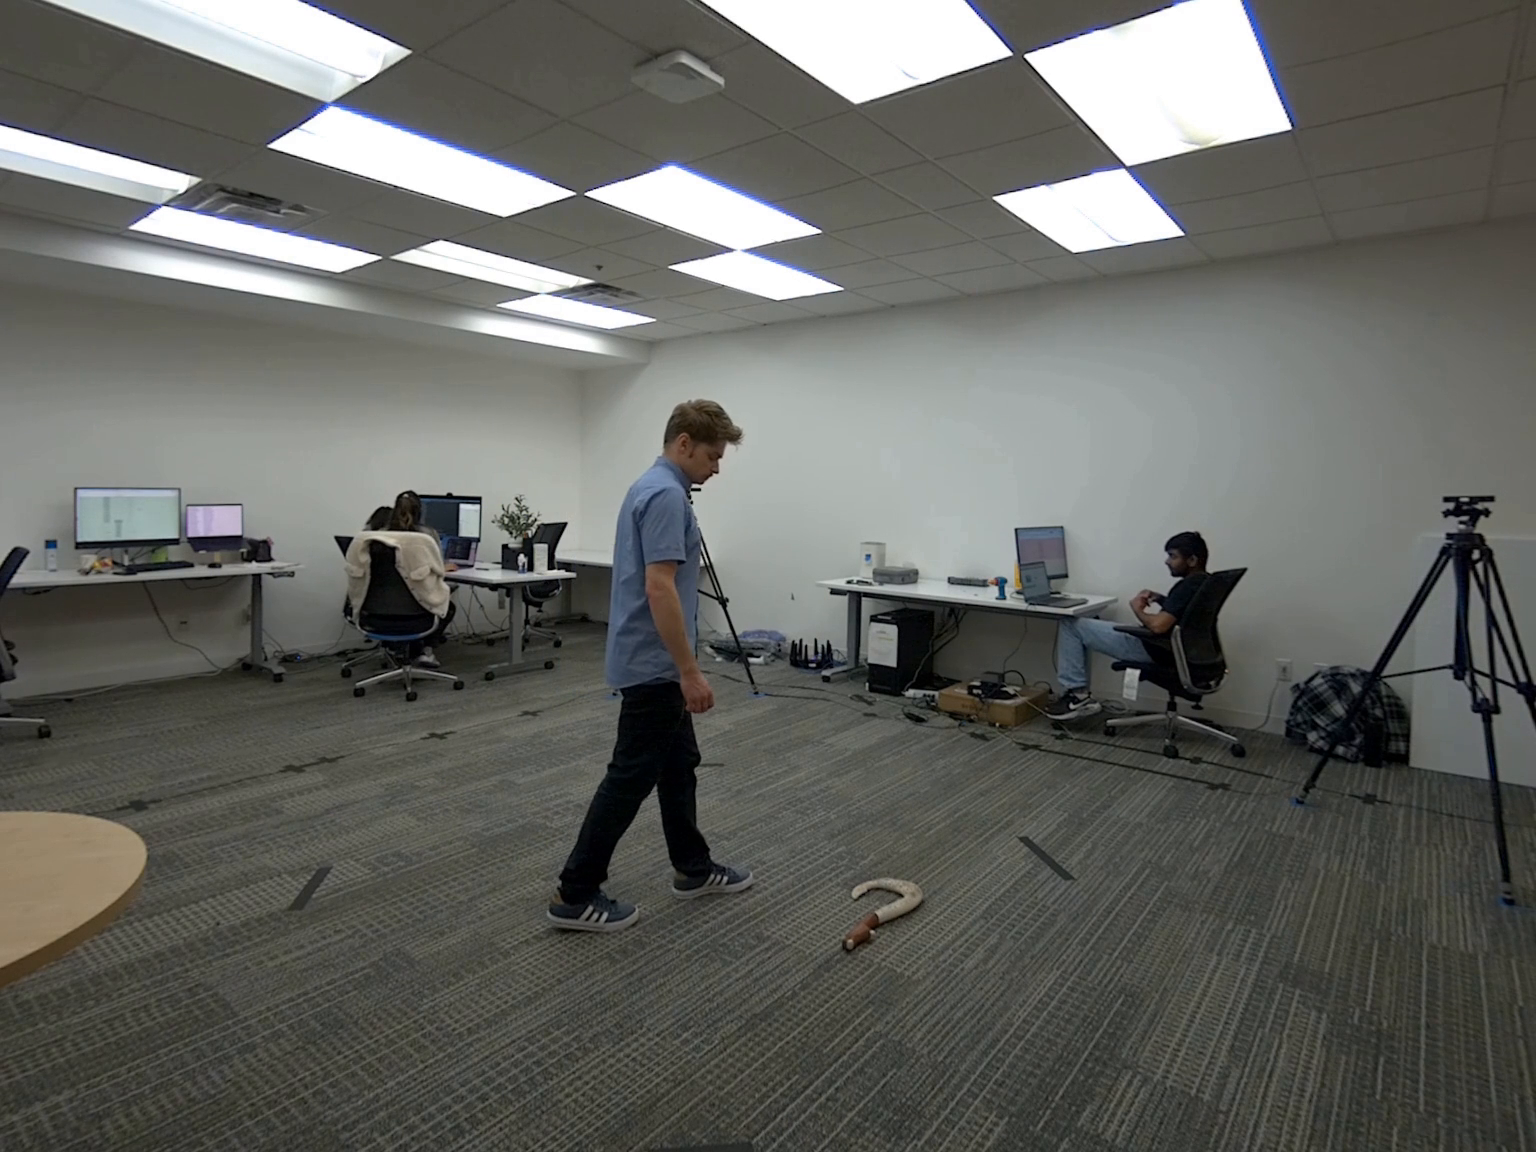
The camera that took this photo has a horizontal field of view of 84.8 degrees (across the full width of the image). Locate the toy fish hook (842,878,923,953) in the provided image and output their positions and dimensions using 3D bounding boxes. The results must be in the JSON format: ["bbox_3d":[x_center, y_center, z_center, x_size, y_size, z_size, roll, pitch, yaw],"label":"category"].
[{"bbox_3d":[0.326,1.097,2.789,0.231,0.048,0.492,-3,2,35],"label":"toy fish hook"}]
